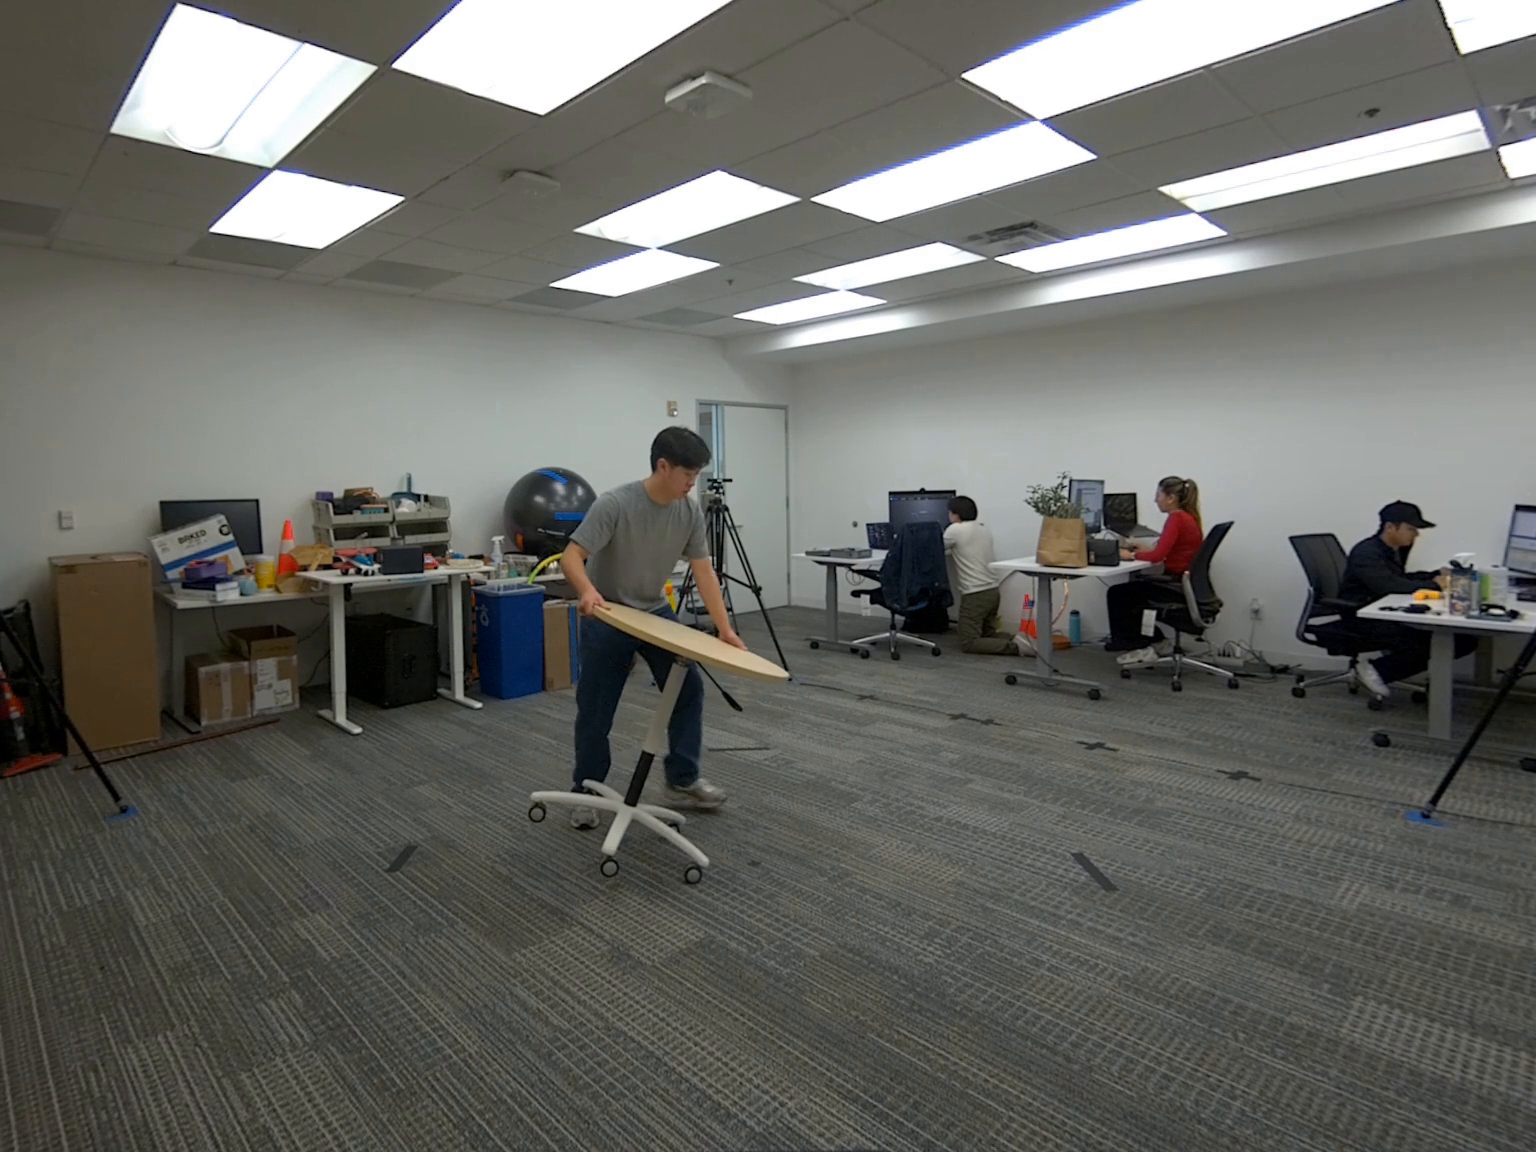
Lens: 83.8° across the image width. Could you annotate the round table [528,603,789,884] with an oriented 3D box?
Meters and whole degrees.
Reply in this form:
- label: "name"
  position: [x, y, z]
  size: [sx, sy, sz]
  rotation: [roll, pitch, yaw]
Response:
- label: "round table"
  position: [-0.413, 0.597, 3.103]
  size: [0.764, 0.794, 0.764]
  rotation: [20, -1, -1]
